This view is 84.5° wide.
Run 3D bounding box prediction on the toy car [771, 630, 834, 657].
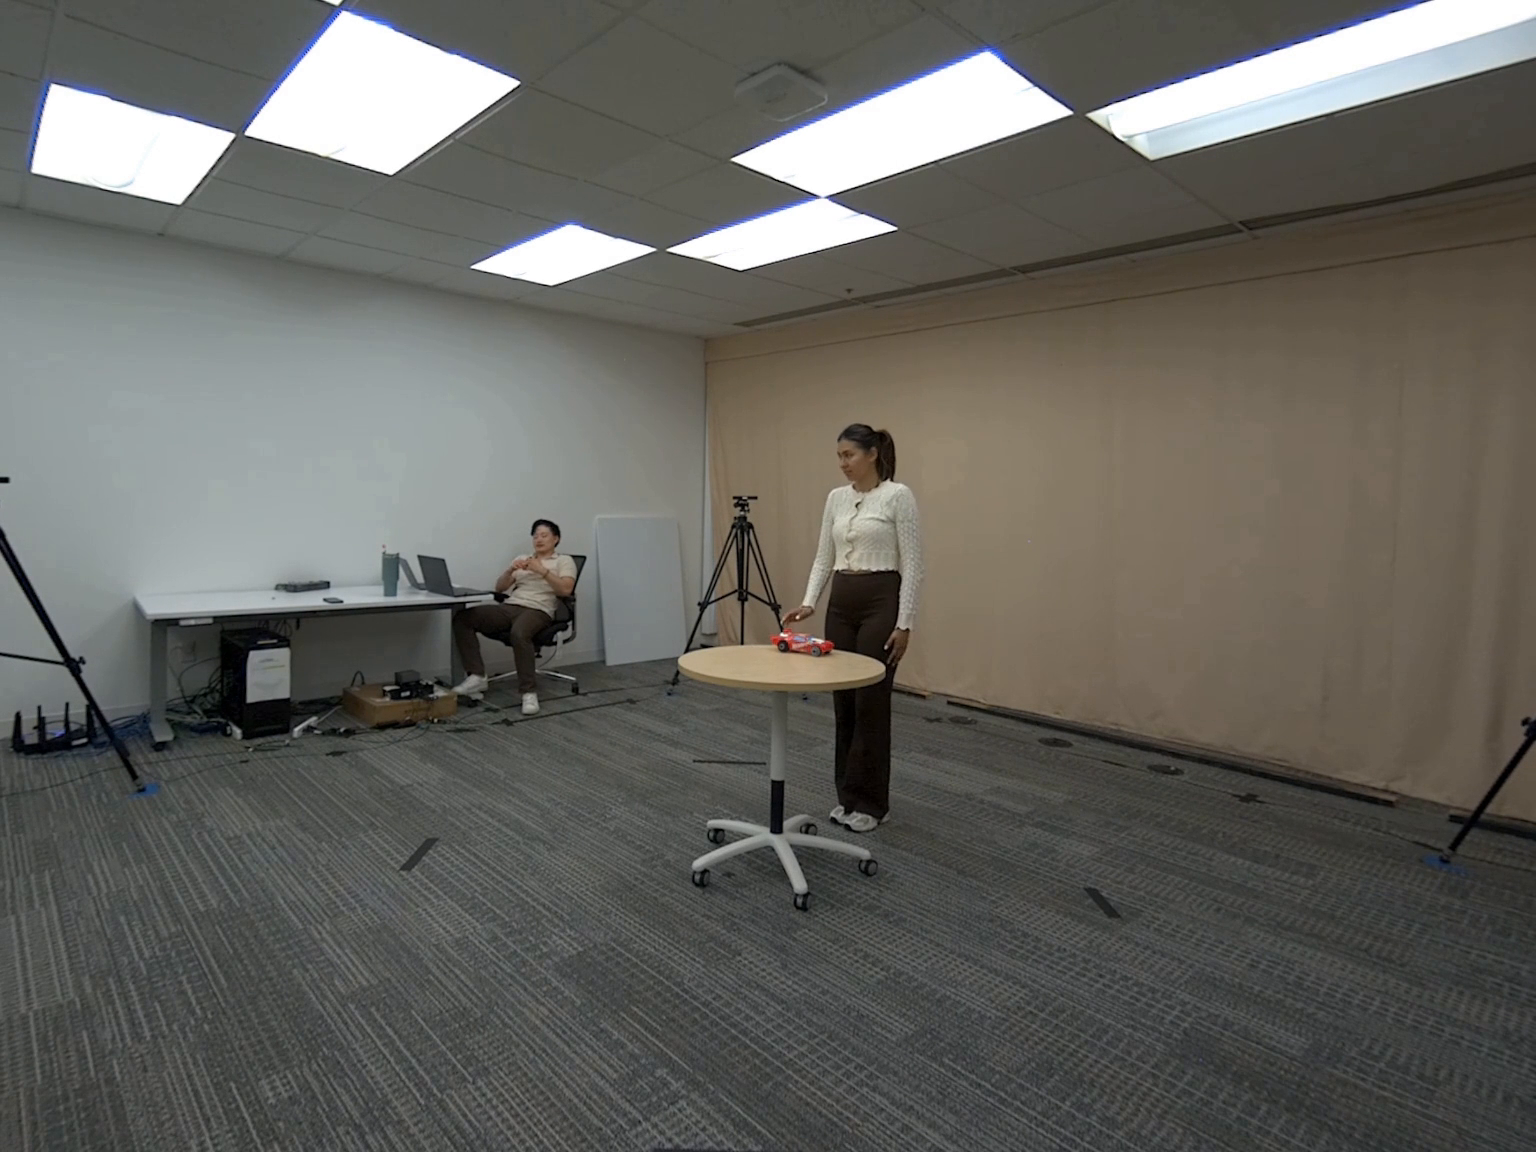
[{"bbox_3d":[0.122,0.273,3.356,0.261,0.083,0.128,18,12,30],"label":"toy car"}]
